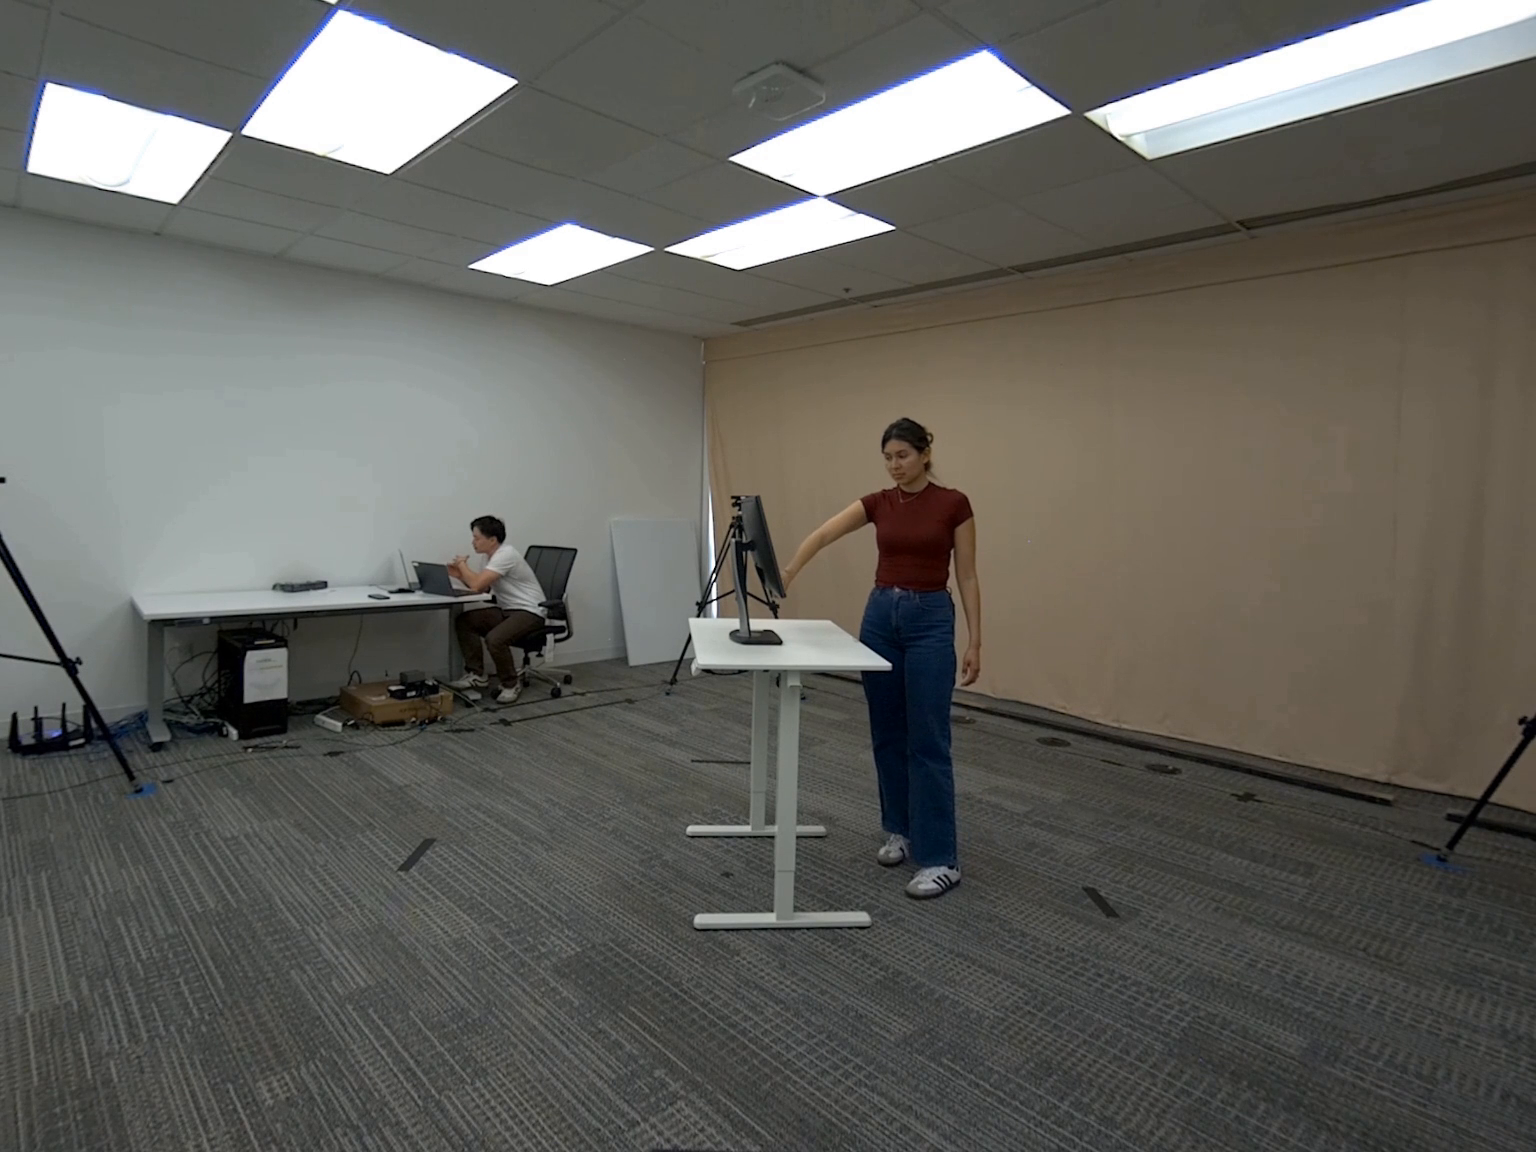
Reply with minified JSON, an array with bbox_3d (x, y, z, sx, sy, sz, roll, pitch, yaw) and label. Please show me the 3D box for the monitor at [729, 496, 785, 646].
[{"bbox_3d":[-0.054,-0.025,3.032,0.186,0.521,0.543,0,4,-6],"label":"monitor"}]
